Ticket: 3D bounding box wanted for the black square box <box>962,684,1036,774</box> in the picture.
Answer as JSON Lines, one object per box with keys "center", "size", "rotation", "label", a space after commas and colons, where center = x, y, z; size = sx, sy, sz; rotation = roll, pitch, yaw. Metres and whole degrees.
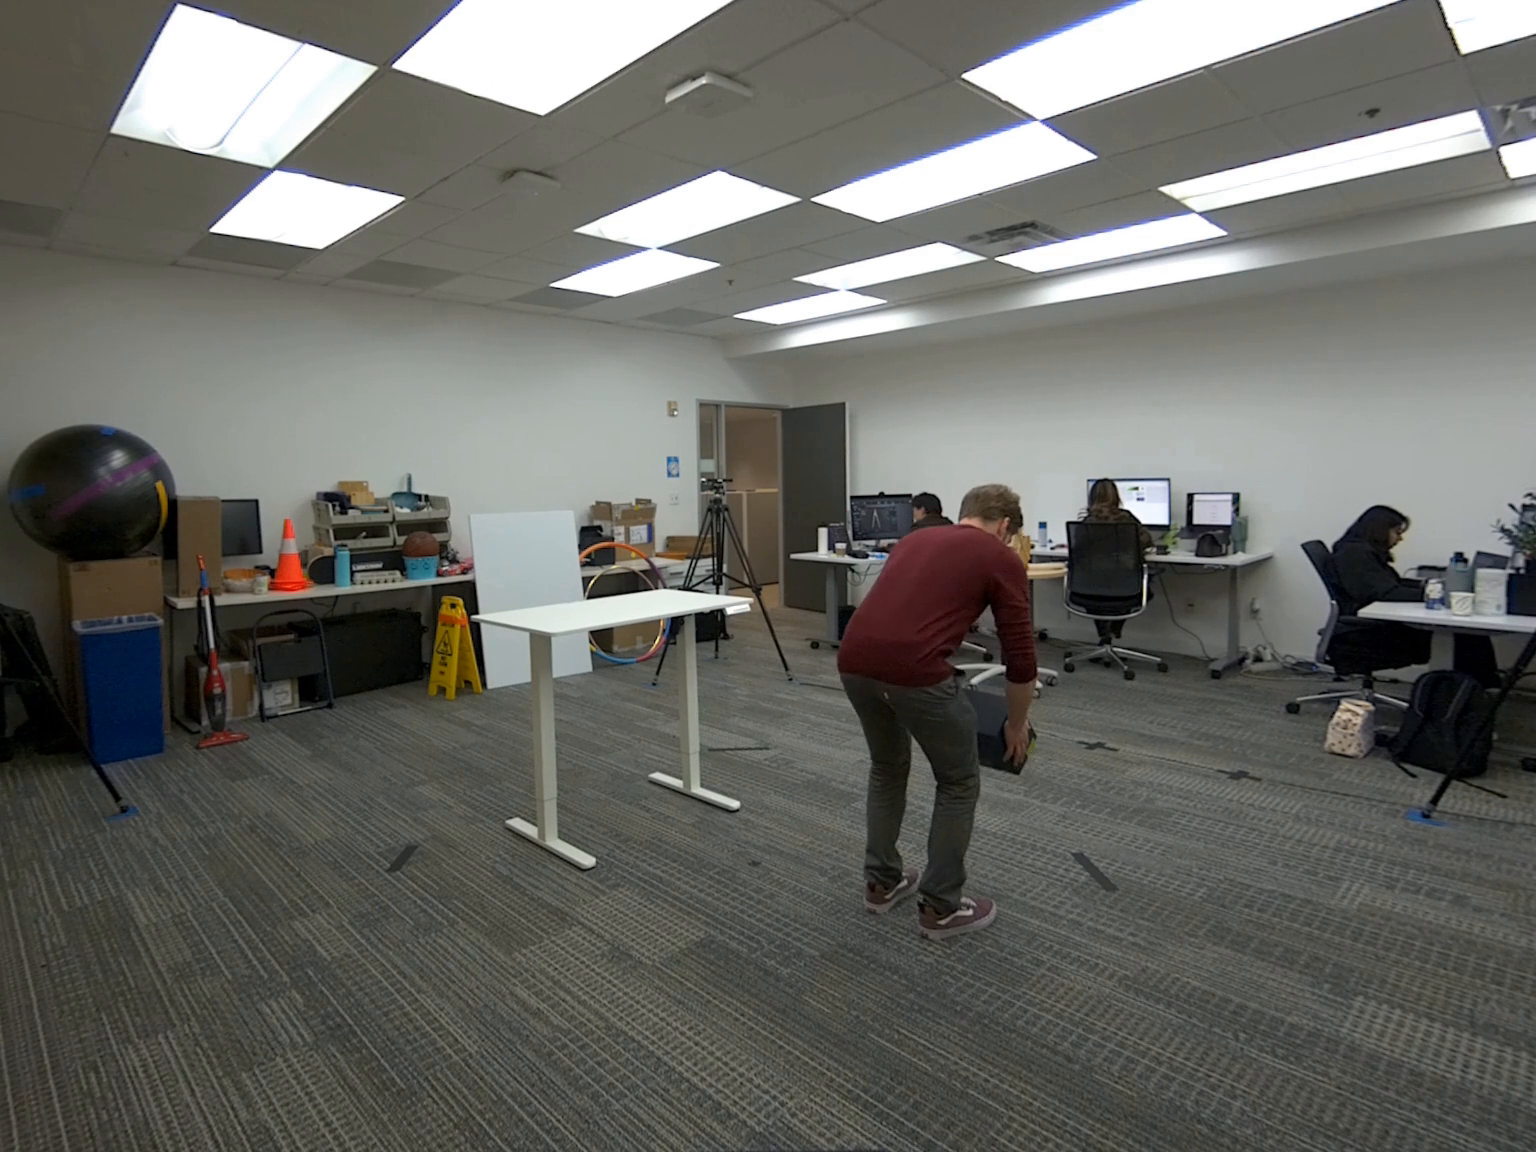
{"center": [0.736, 0.505, 2.854], "size": [0.235, 0.210, 0.156], "rotation": [5, 51, 48], "label": "black square box"}
